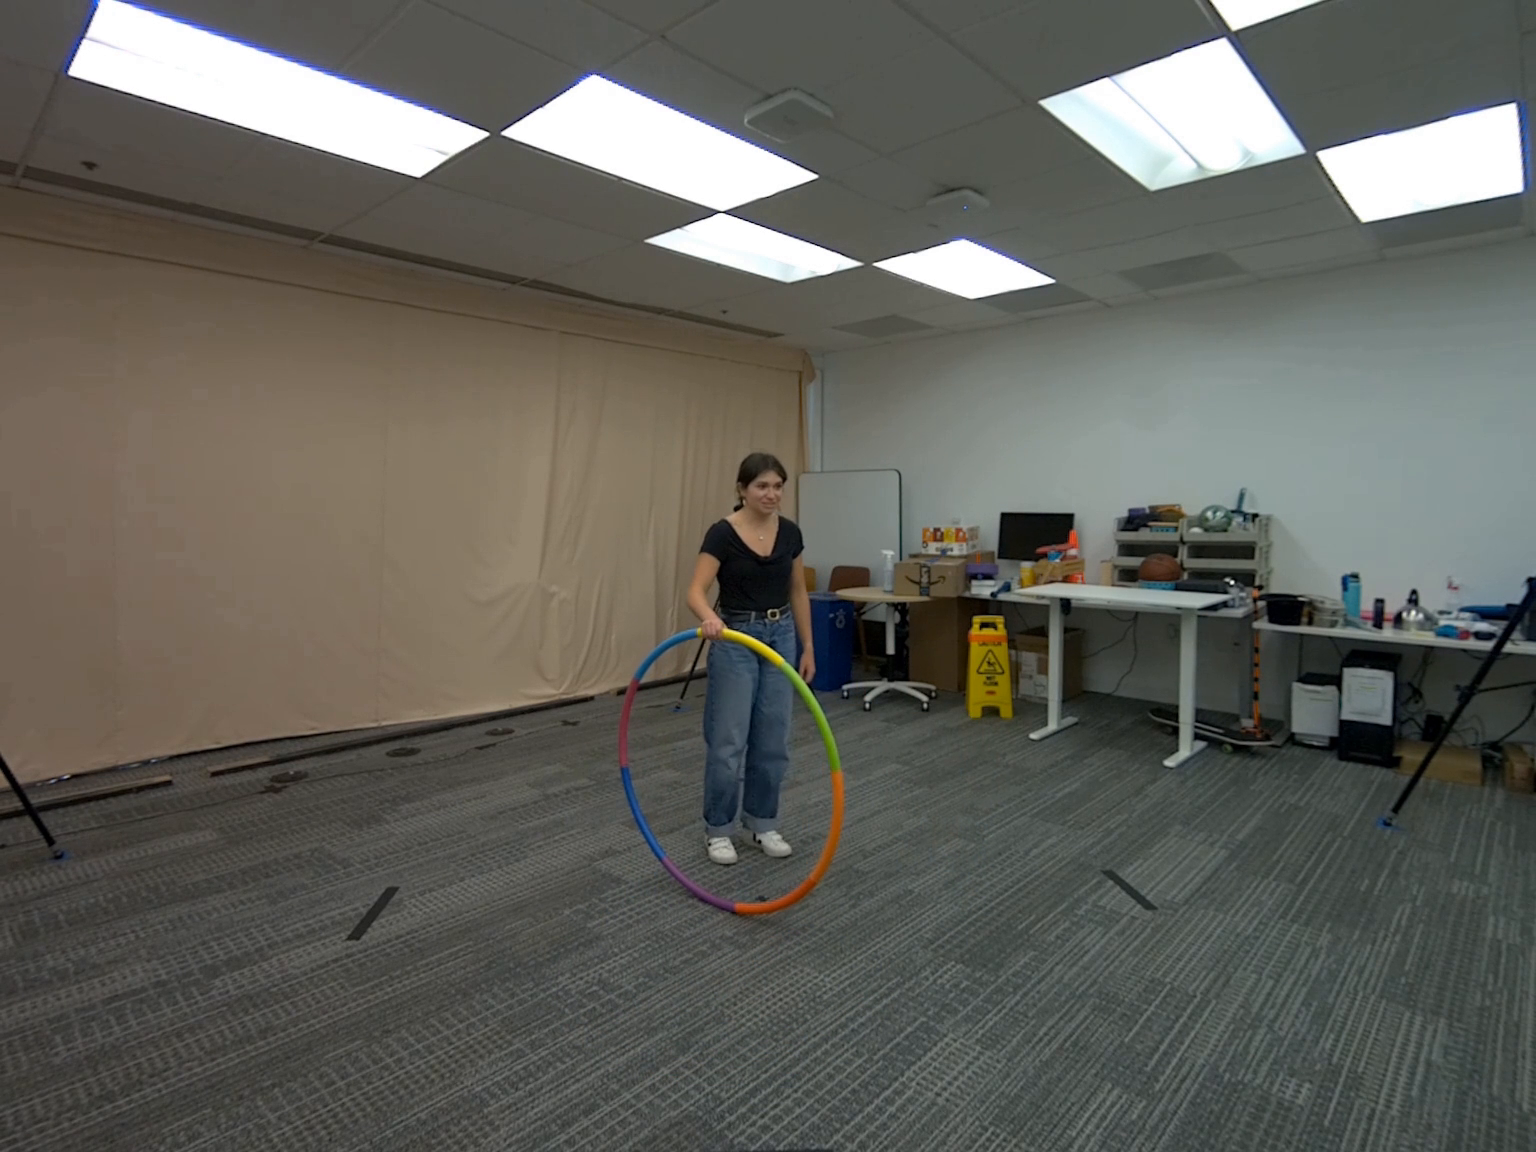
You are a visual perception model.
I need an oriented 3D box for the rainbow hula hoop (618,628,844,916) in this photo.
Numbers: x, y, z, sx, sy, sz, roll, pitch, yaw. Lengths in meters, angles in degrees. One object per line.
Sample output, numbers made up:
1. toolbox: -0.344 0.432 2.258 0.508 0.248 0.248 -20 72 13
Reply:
1. rainbow hula hoop: -0.160 0.667 2.912 1.010 0.977 0.034 3 3 38
